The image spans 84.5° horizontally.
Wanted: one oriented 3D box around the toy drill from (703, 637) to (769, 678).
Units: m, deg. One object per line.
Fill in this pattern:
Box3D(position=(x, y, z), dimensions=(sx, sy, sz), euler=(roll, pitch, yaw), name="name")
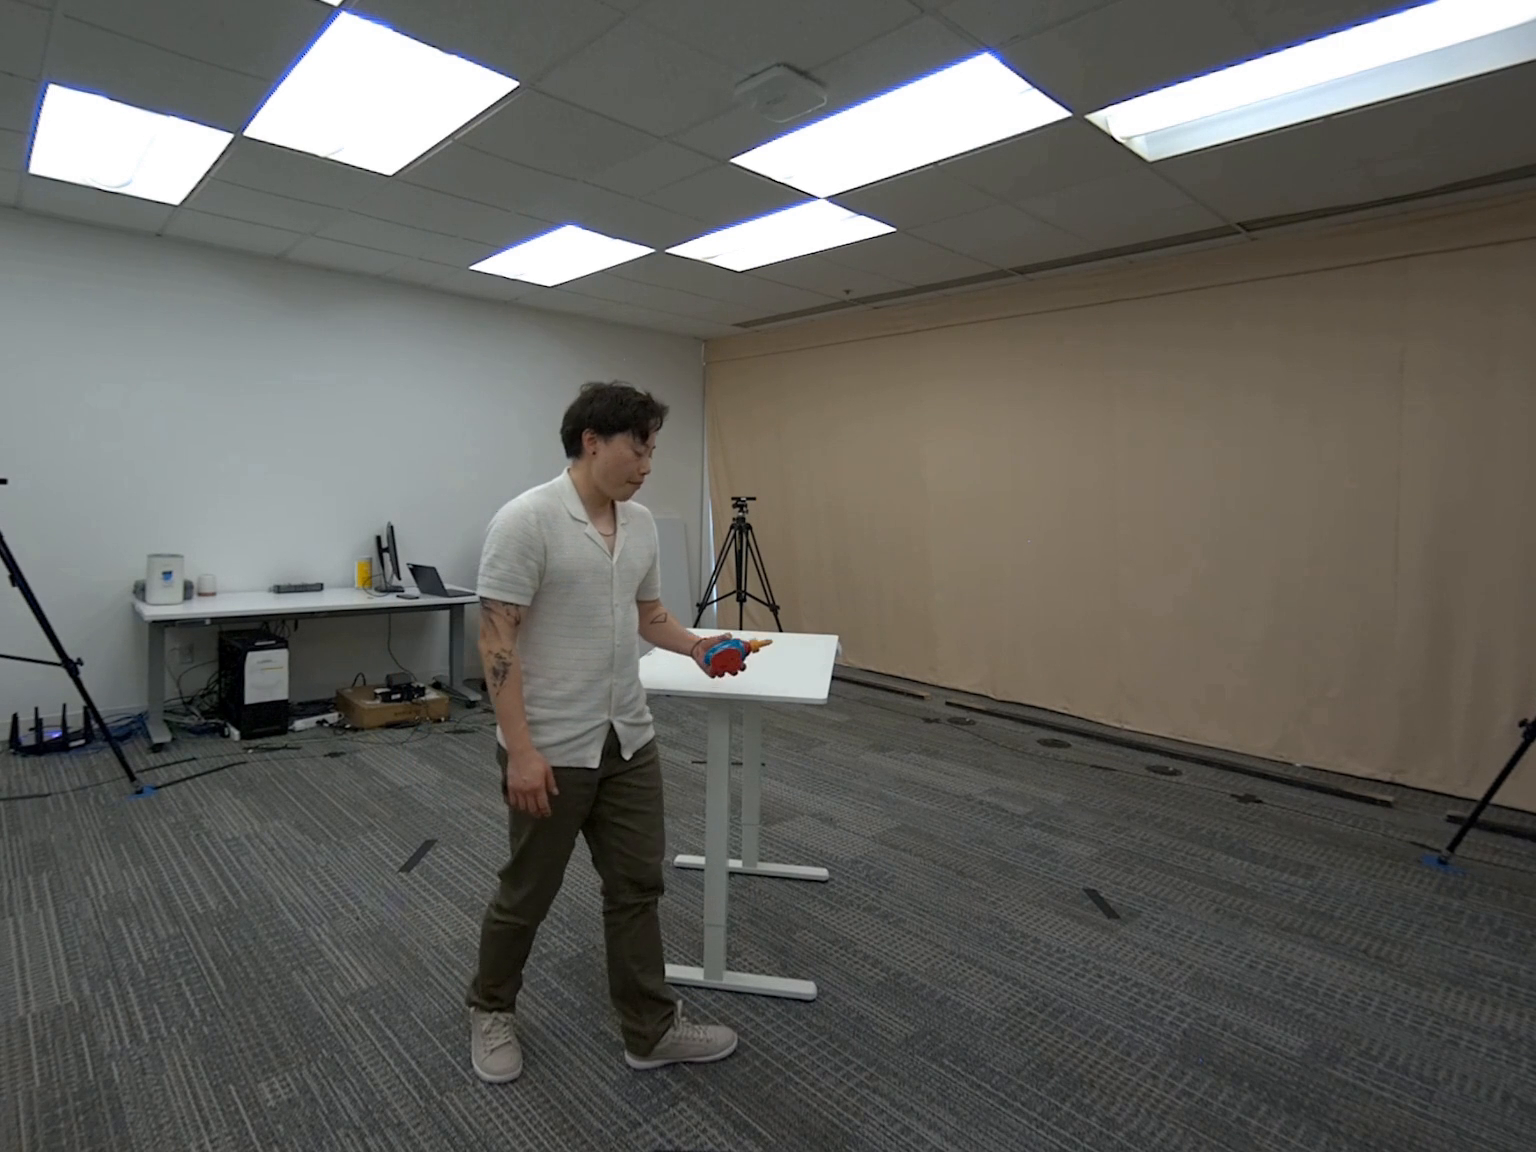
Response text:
Box3D(position=(-0.108, 0.179, 1.944), dimensions=(0.170, 0.061, 0.146), euler=(-12, 4, 1), name="toy drill")
